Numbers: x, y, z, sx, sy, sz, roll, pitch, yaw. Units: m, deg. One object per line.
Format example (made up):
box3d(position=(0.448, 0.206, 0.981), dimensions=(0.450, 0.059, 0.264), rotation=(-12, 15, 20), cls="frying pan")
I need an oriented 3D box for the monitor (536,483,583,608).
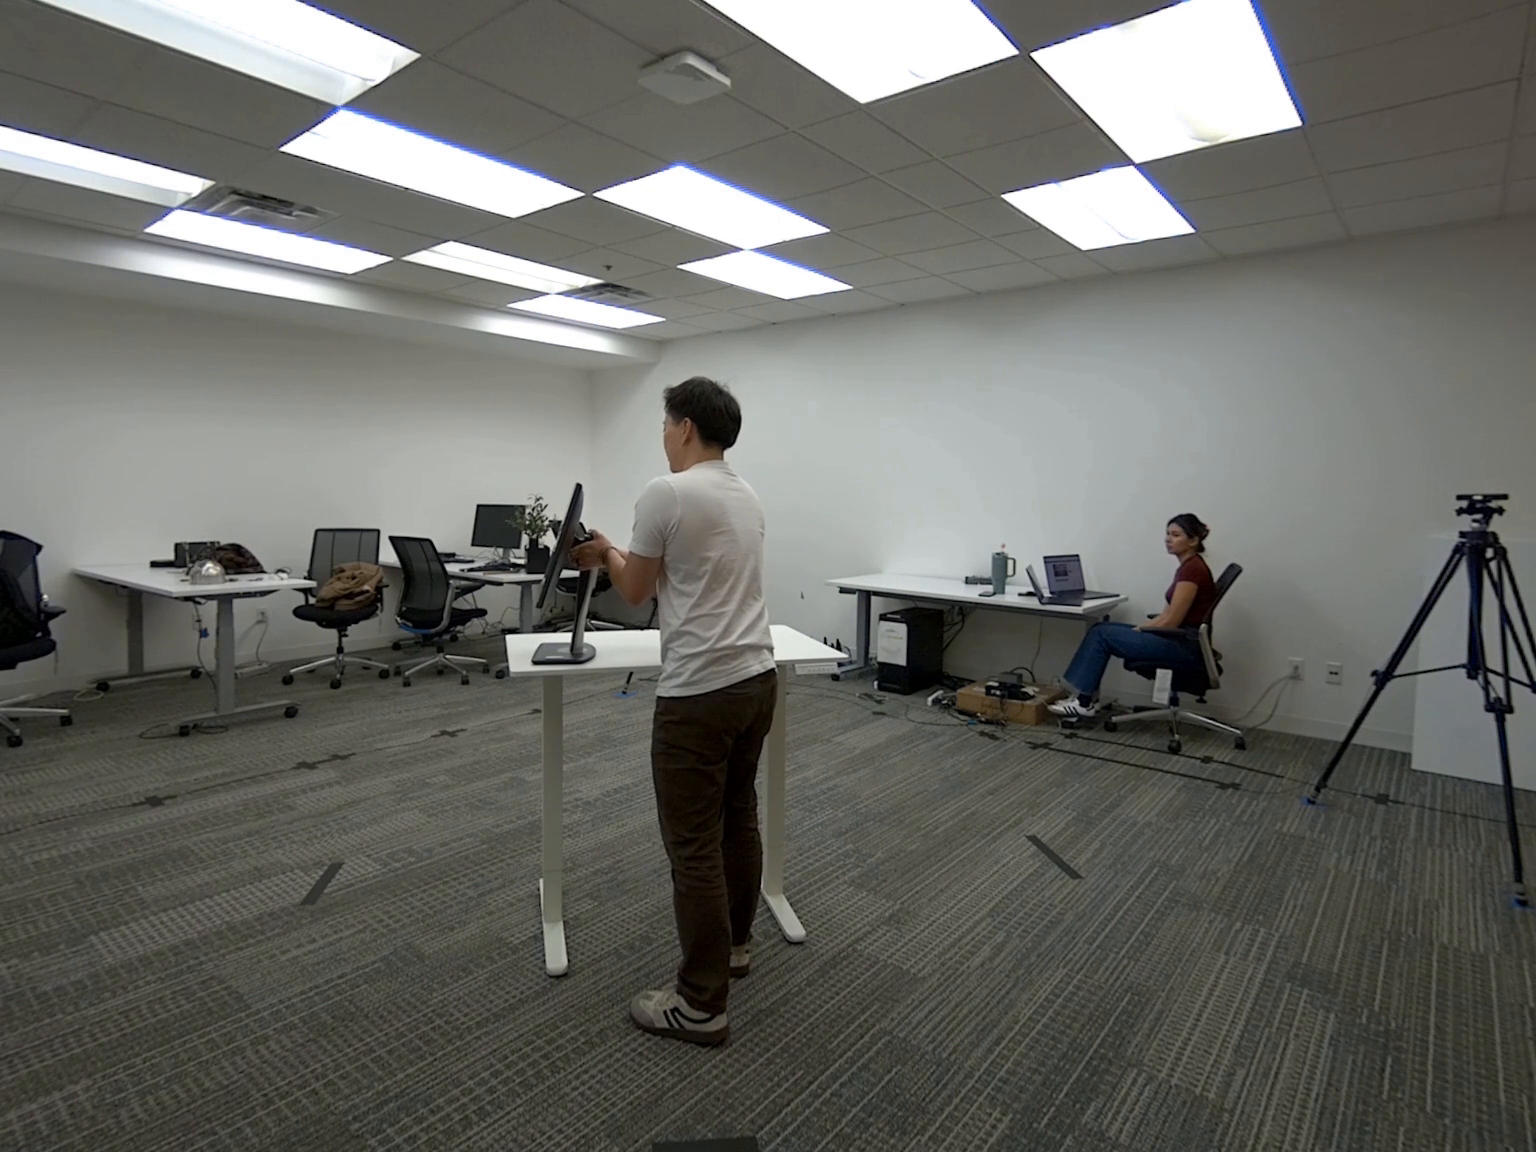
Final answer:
box3d(position=(-0.603, -0.013, 2.537), dimensions=(0.184, 0.521, 0.548), rotation=(4, 3, -15), cls="monitor")
